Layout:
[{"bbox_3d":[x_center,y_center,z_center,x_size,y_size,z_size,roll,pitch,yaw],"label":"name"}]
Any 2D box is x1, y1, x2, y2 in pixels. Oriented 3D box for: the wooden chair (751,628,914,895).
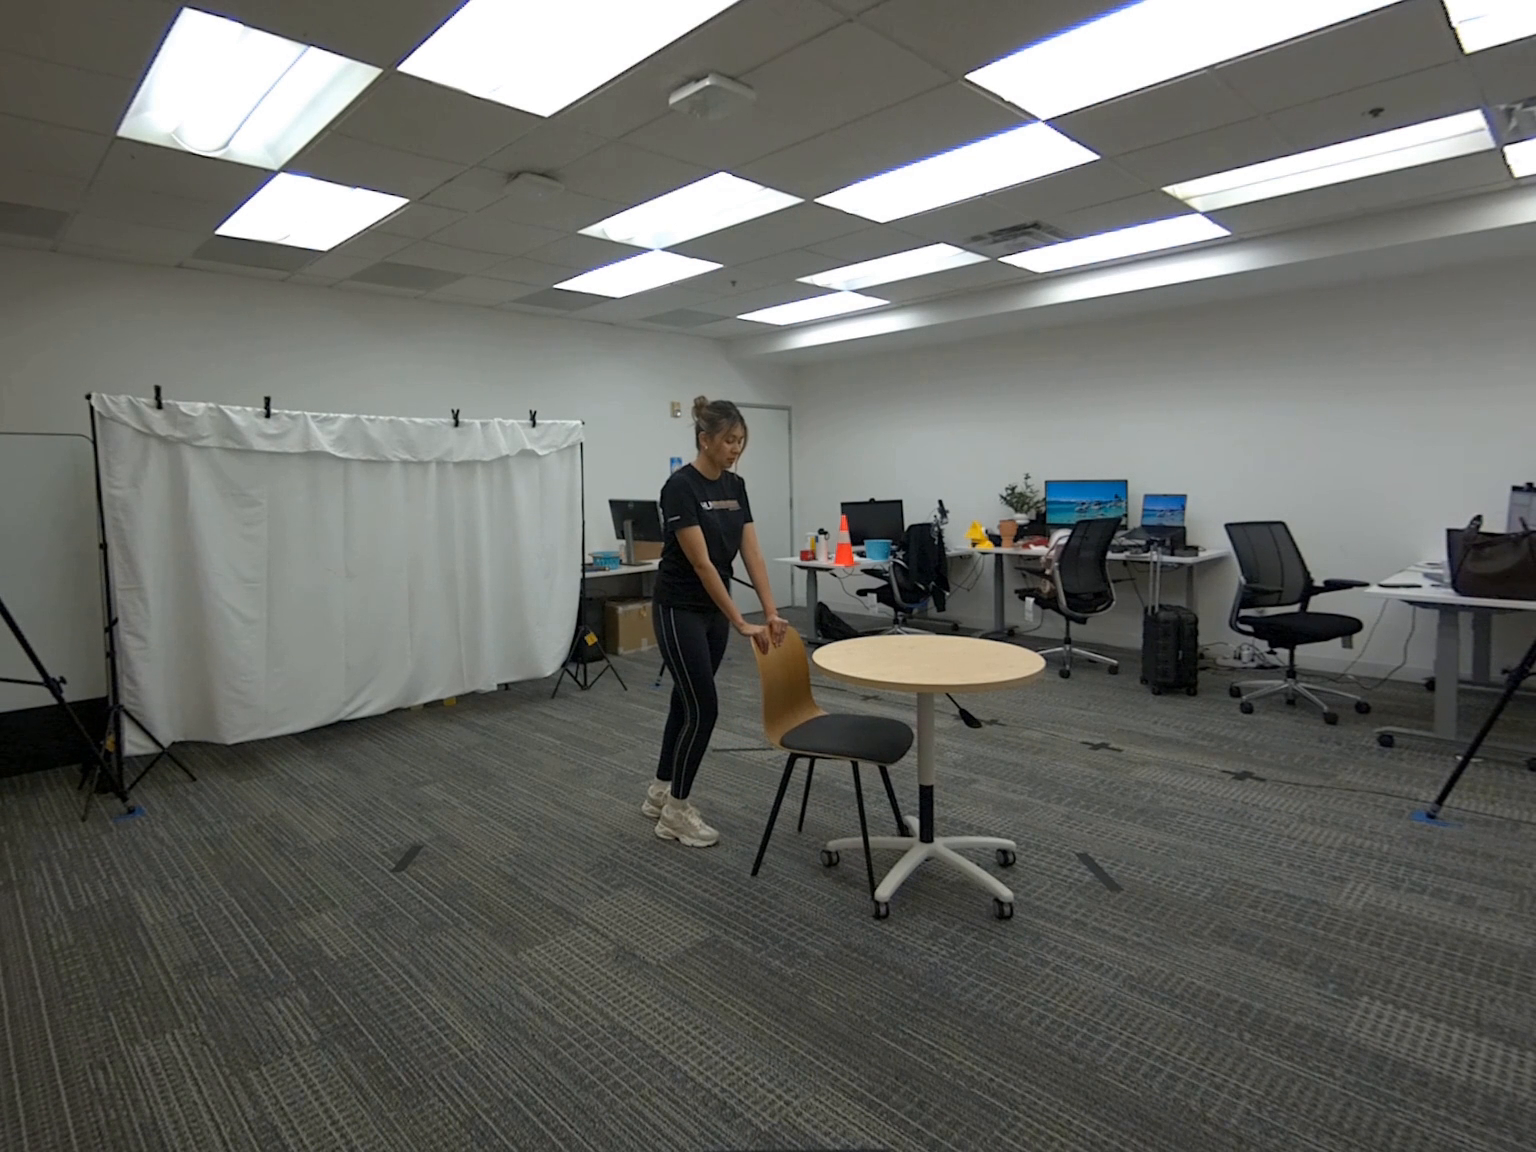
[{"bbox_3d":[0.236,0.617,3.073,0.535,0.876,0.468,-4,2,27],"label":"wooden chair"}]
